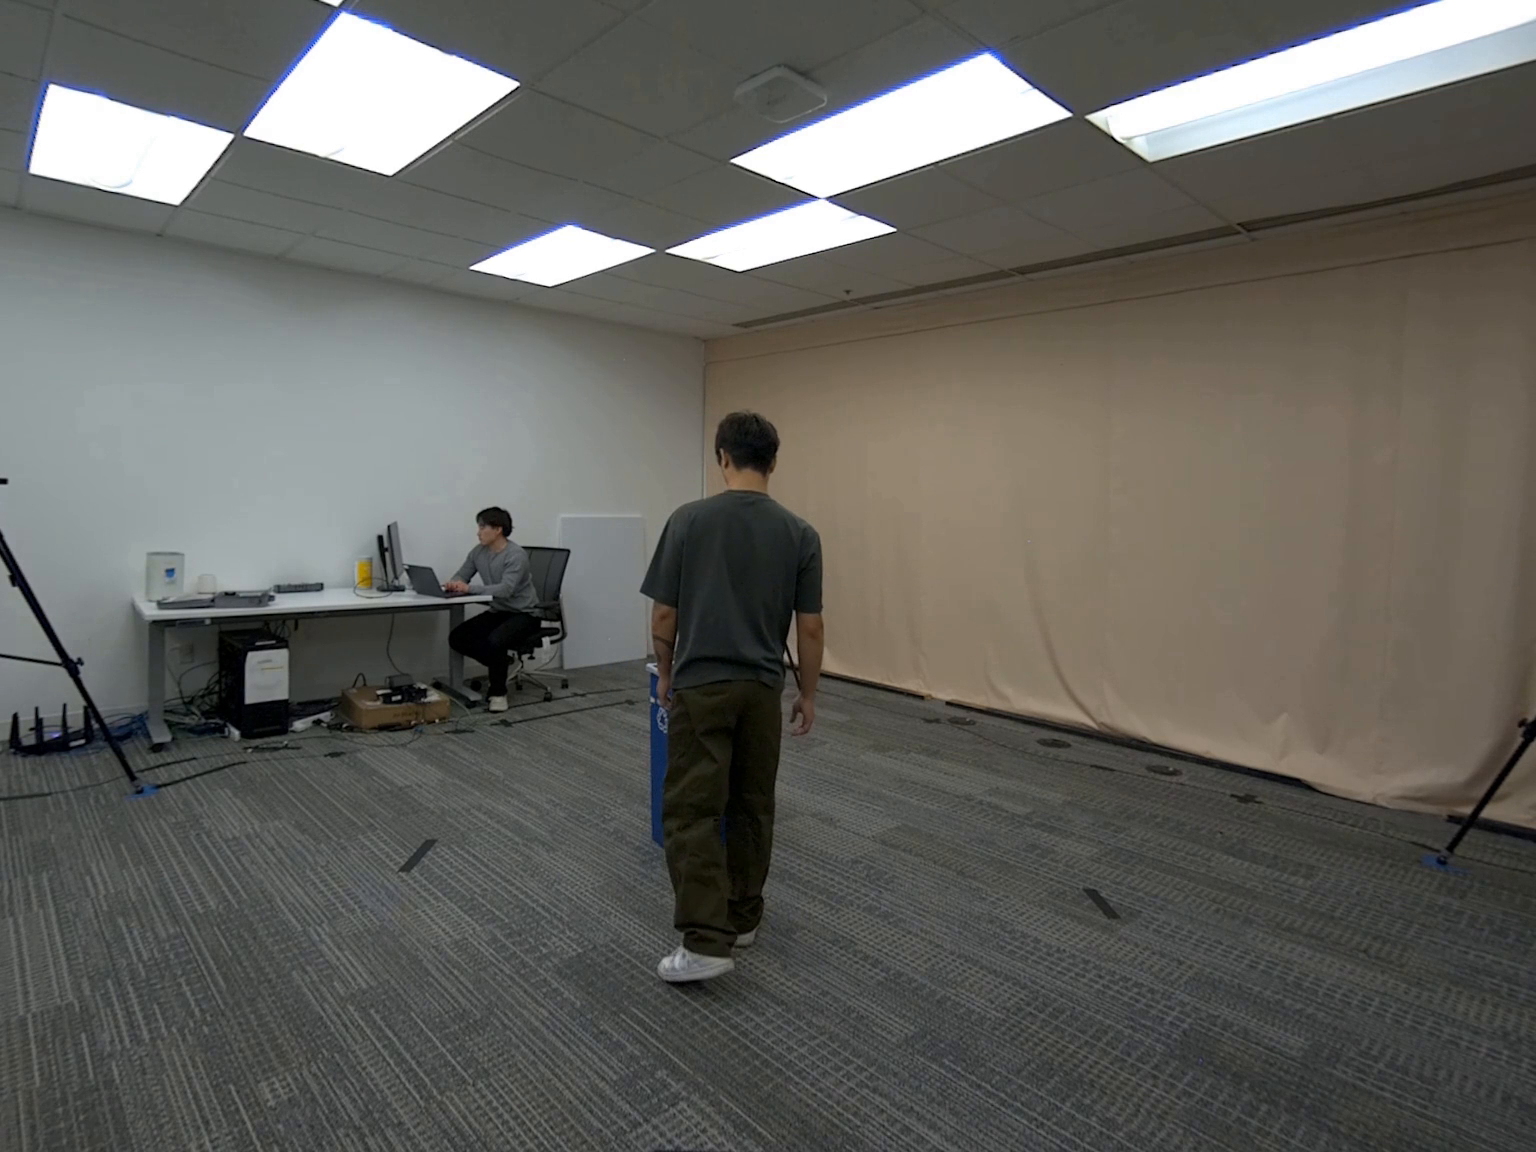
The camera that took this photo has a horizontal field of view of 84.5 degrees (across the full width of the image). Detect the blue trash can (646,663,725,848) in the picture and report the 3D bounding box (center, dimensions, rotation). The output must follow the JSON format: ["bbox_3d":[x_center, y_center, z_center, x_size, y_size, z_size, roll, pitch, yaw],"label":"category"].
[{"bbox_3d":[-0.259,0.726,3.365,0.366,0.711,0.387,-2,5,-34],"label":"blue trash can"}]
